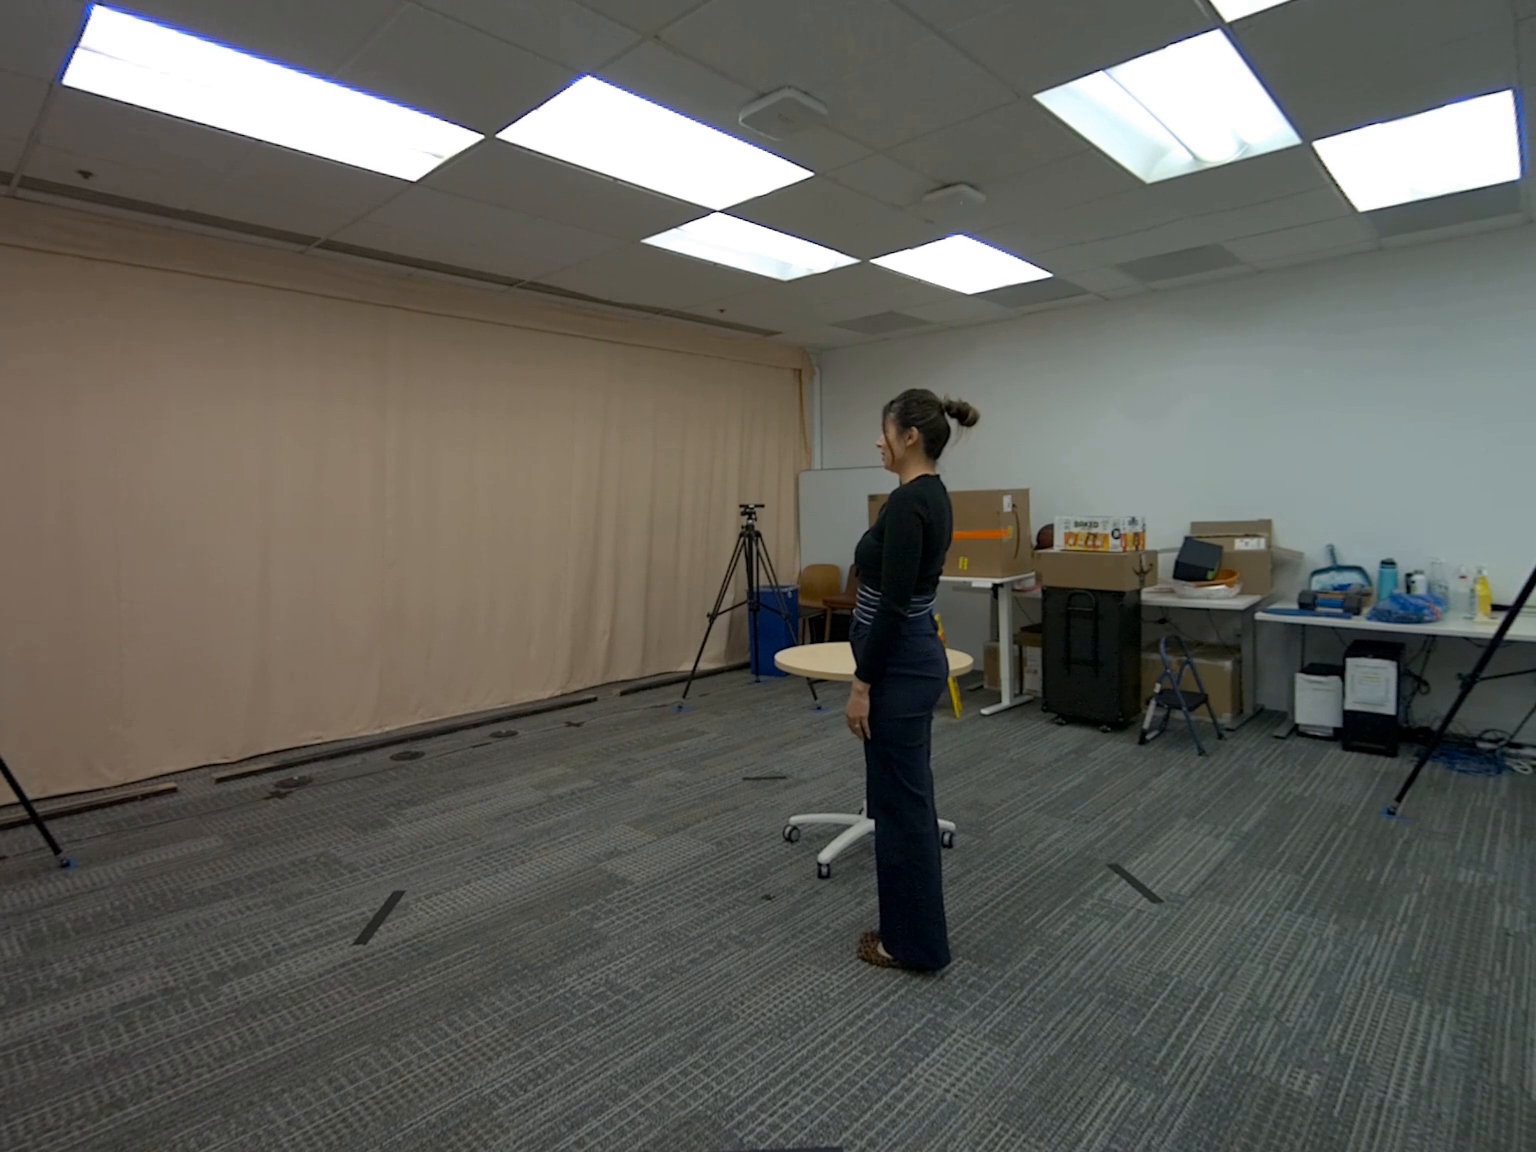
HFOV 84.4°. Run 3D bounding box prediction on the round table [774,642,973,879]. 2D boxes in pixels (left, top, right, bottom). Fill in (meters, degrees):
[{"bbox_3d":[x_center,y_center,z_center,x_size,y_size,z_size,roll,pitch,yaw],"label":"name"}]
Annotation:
[{"bbox_3d":[0.413,0.713,3.343,0.763,0.792,0.766,-1,3,-2],"label":"round table"}]
